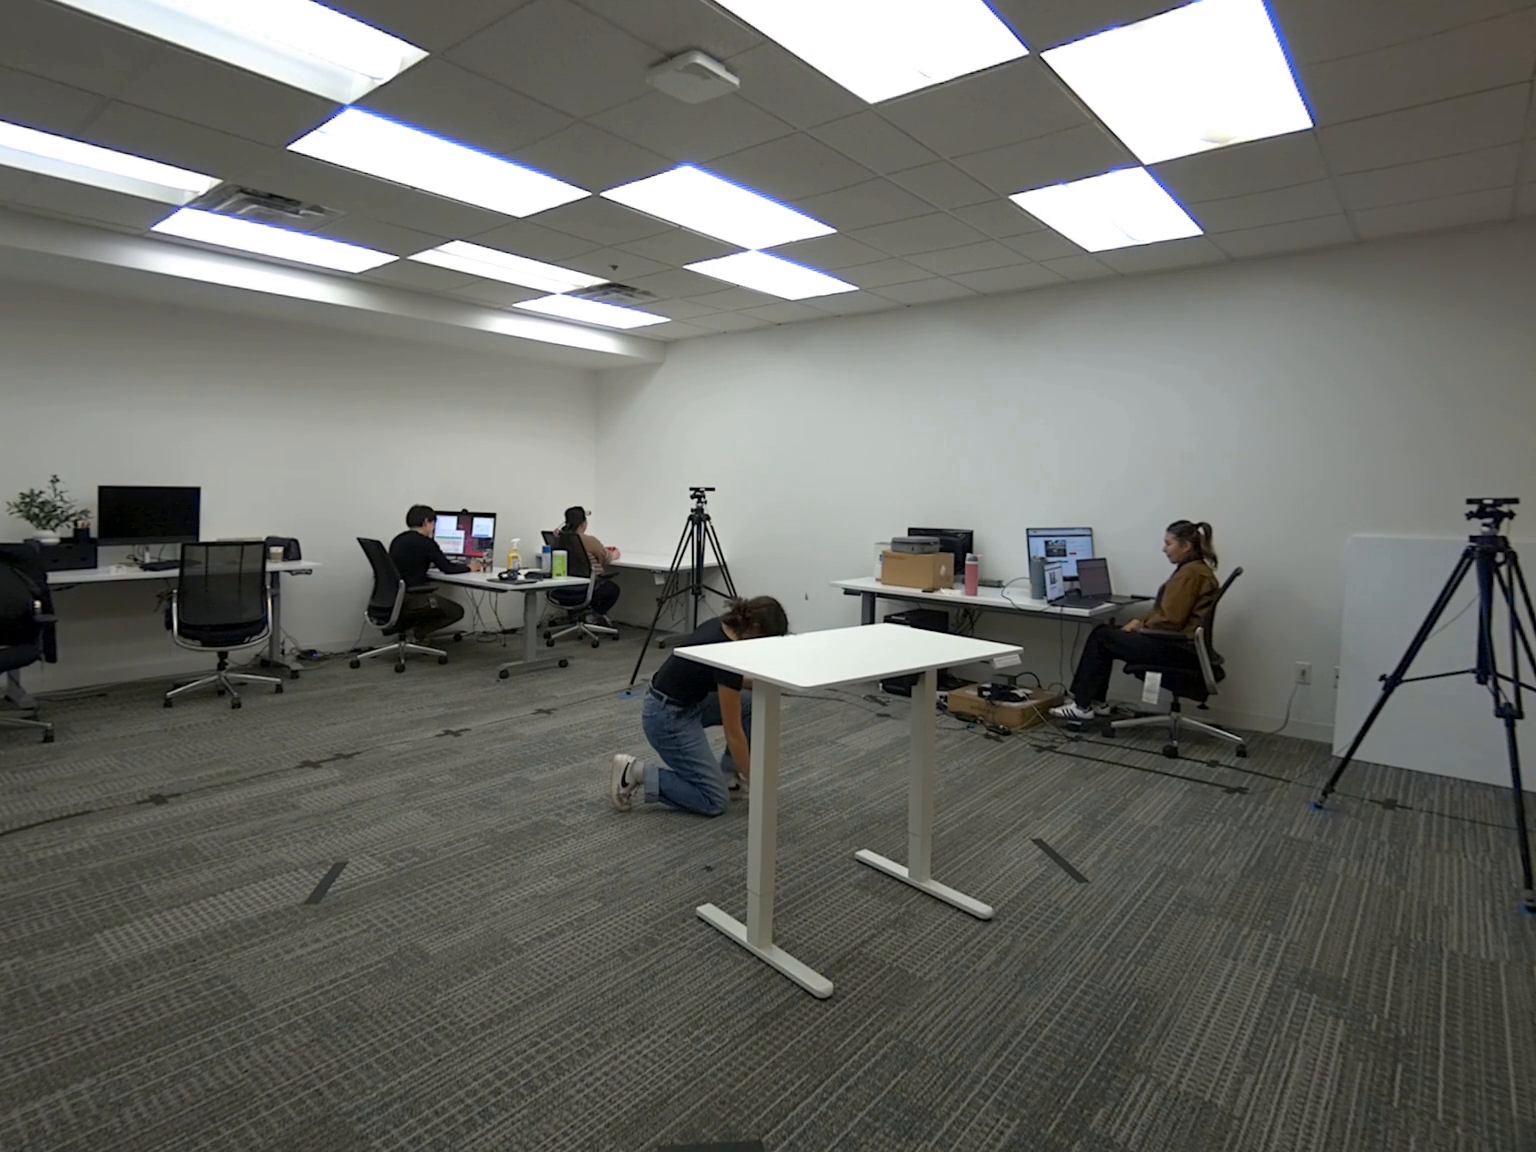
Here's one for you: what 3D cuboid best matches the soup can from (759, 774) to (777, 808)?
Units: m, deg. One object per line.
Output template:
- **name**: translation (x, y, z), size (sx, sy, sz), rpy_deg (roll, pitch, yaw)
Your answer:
- **soup can**: translation (-0.003, 0.947, 3.713), size (0.067, 0.121, 0.067), rpy_deg (3, 2, -2)
